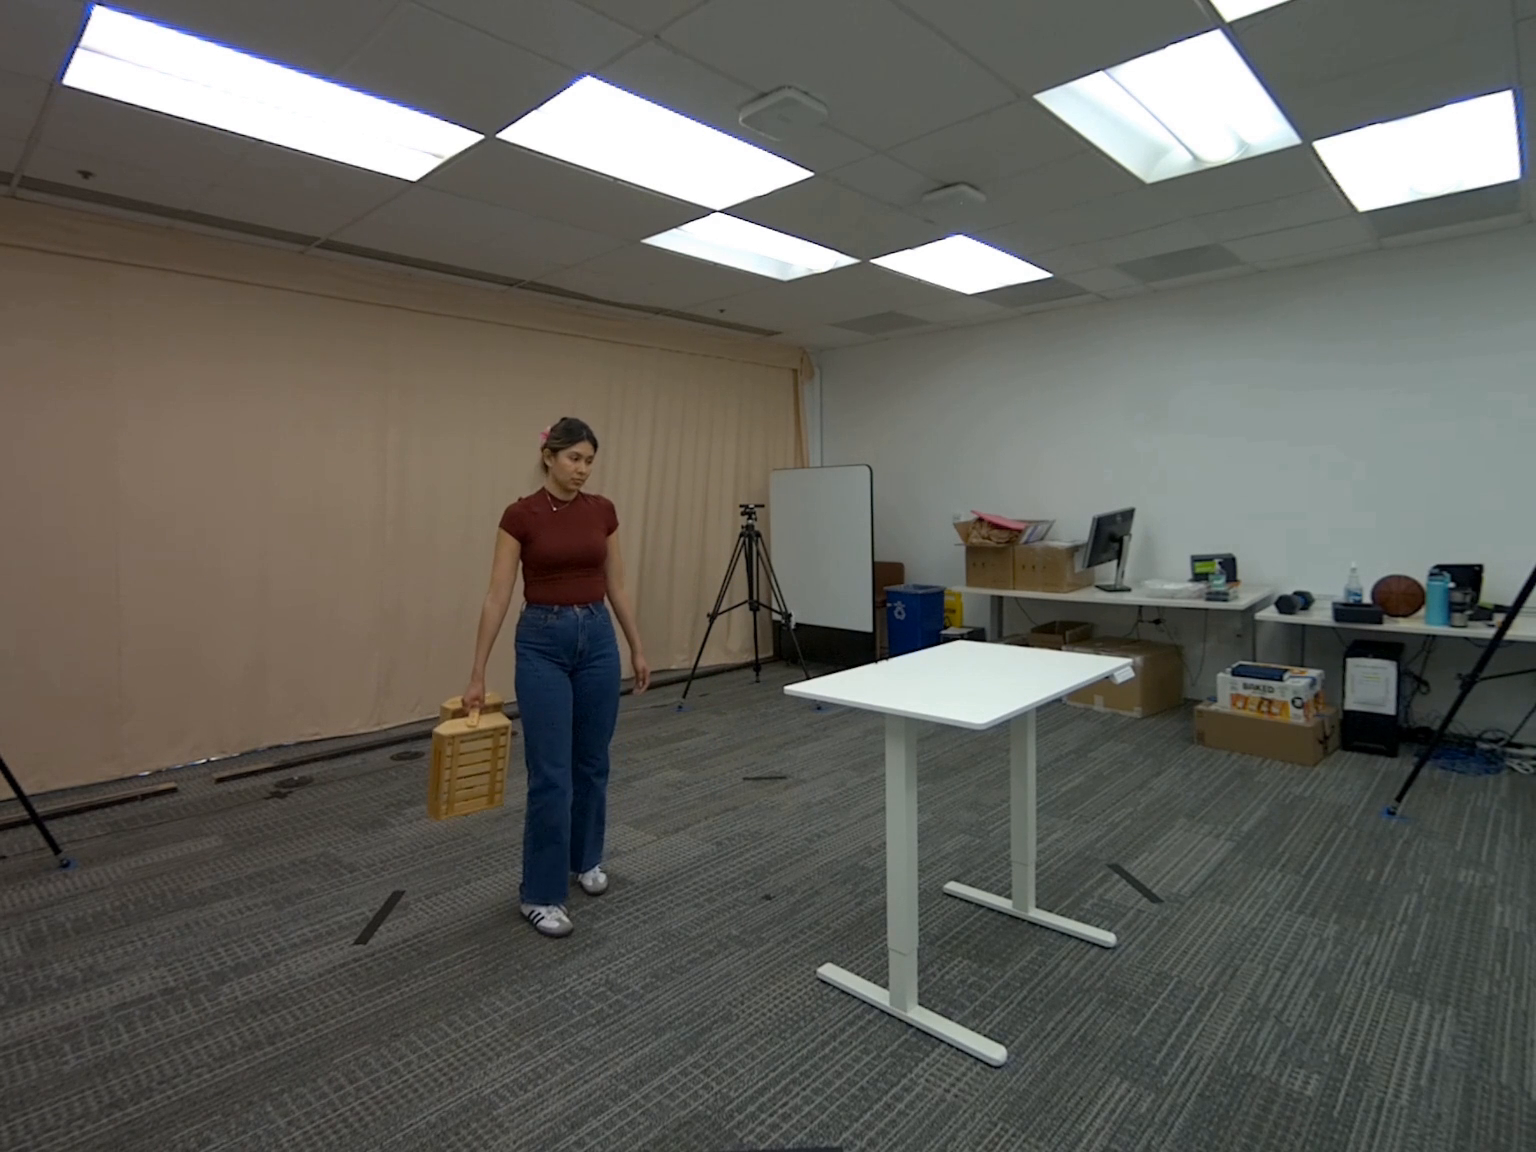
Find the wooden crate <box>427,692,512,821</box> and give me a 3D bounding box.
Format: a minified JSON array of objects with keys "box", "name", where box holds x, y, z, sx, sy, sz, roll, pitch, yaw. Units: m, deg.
[{"box":[-1.025,0.600,2.839,0.293,0.323,0.283,-2,16,-42],"name":"wooden crate"}]
